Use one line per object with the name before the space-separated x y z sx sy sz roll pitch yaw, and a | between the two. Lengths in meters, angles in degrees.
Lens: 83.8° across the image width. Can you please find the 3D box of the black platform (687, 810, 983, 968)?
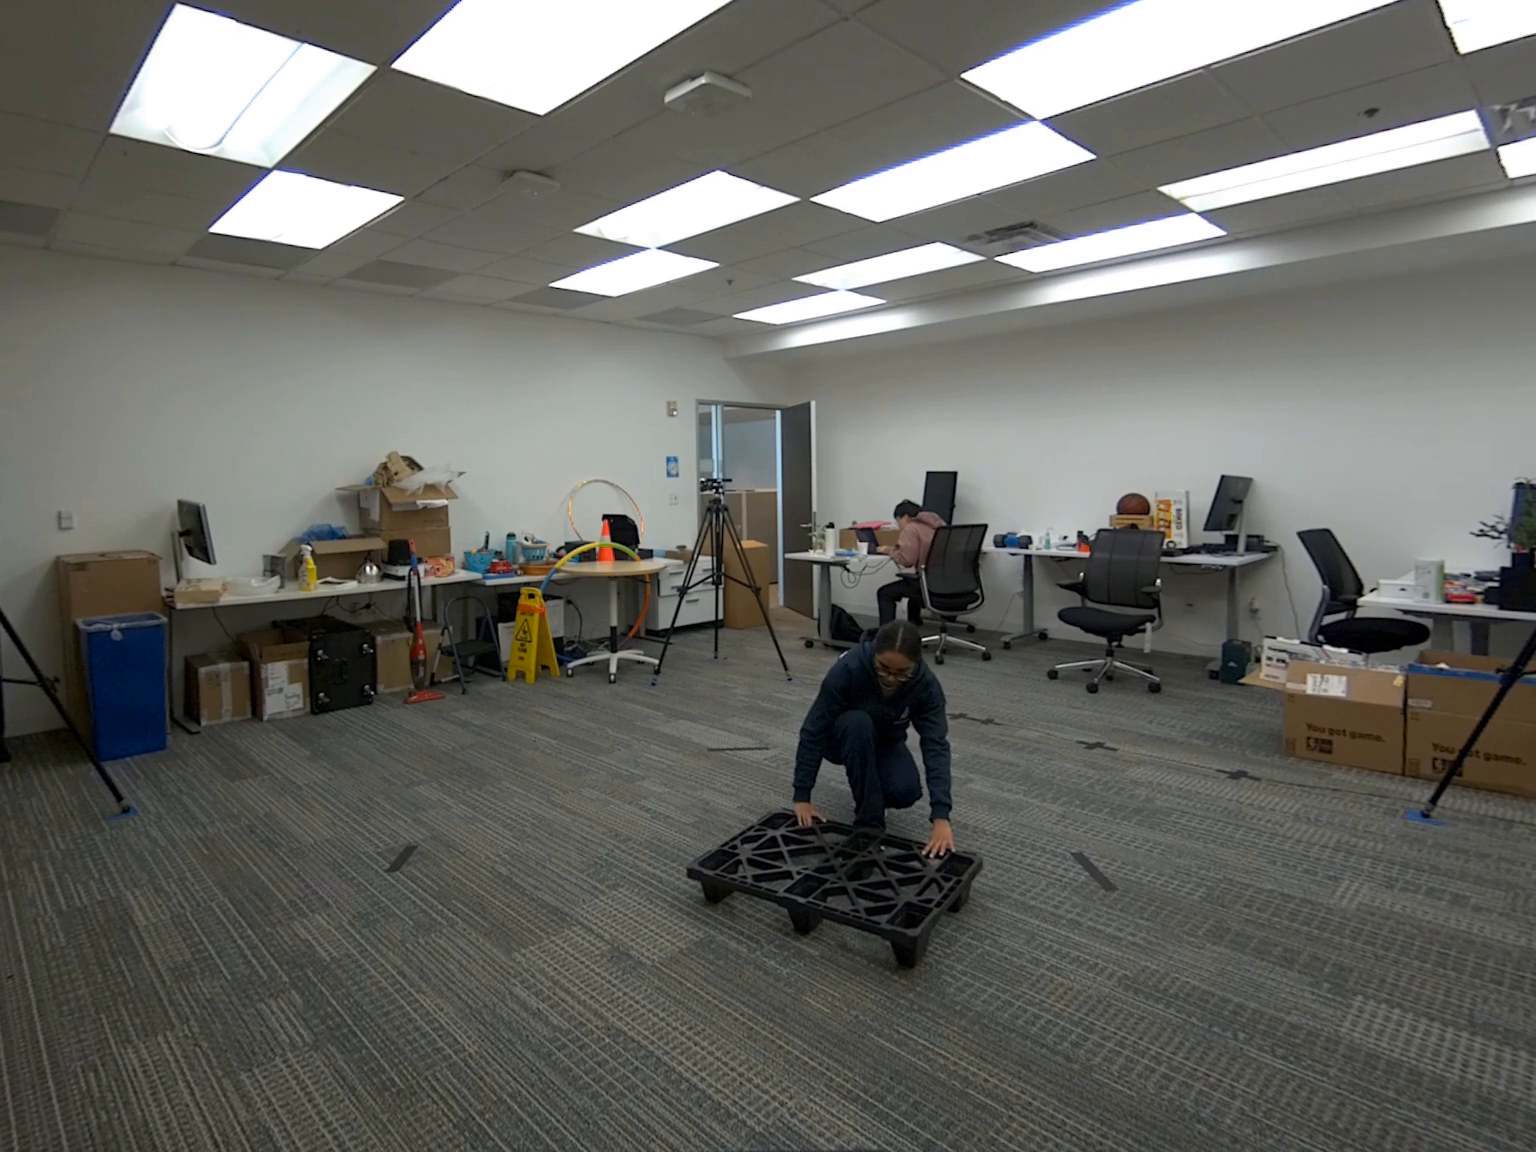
black platform | 0.219 1.005 2.822 0.828 0.143 0.591 3 7 33
